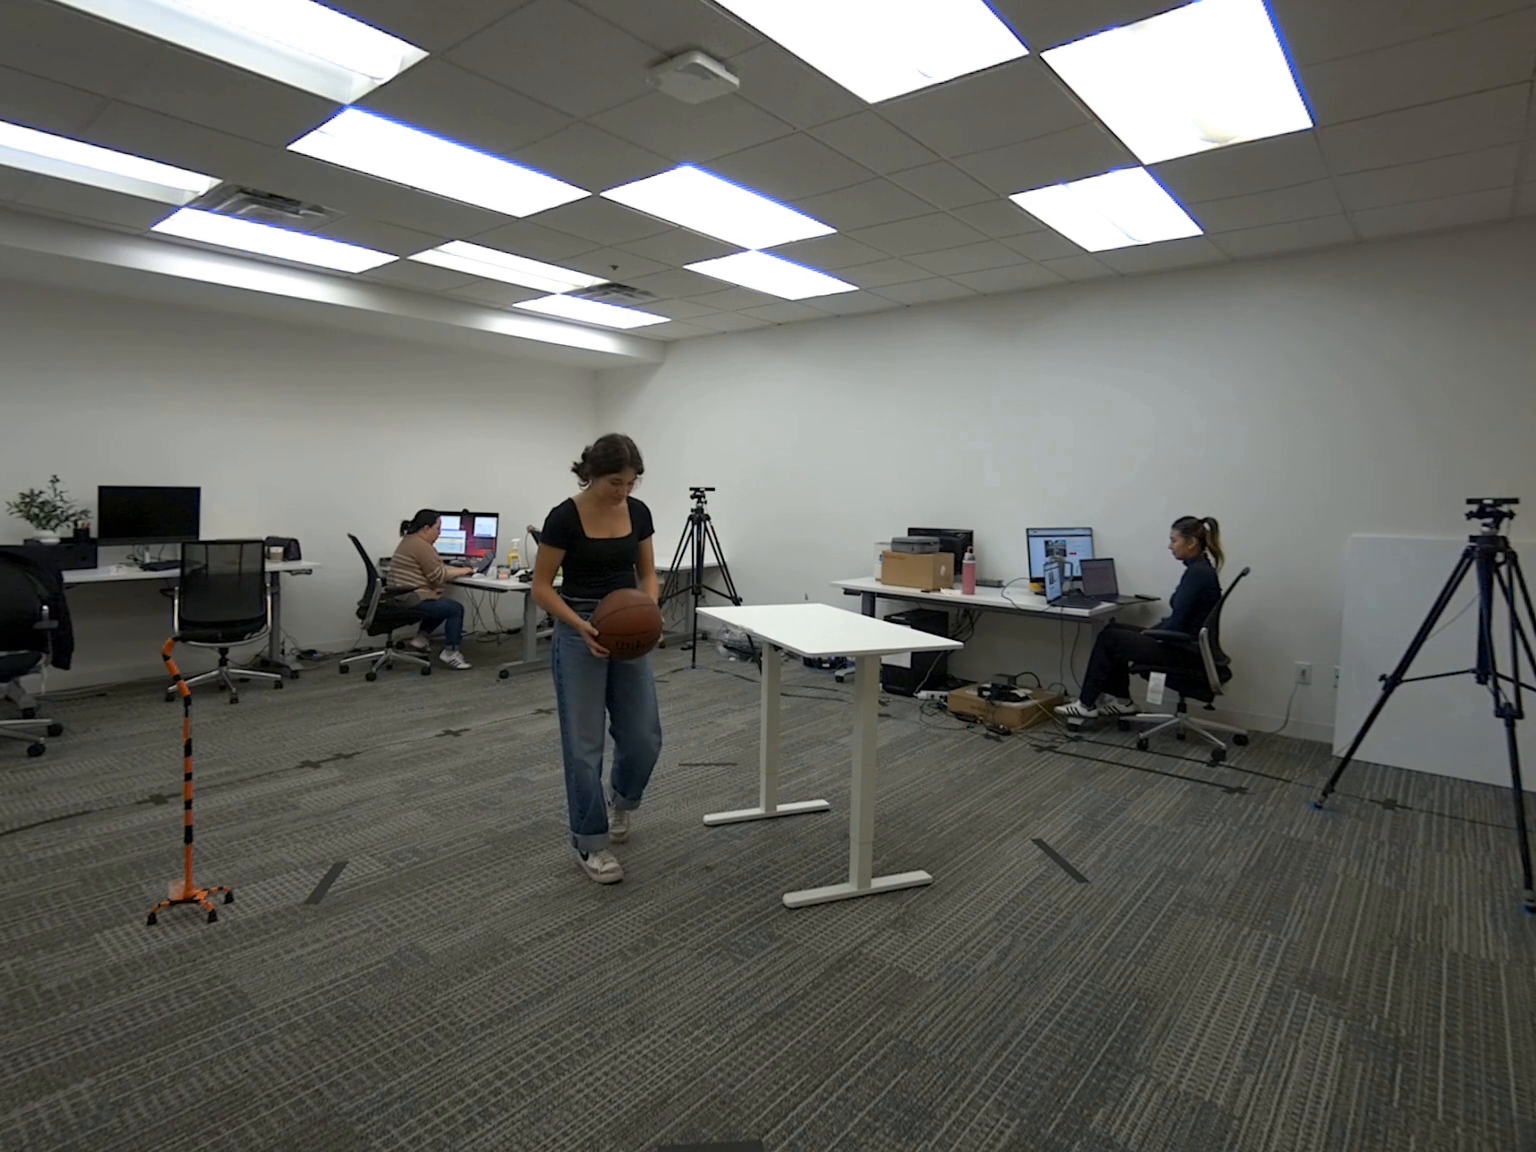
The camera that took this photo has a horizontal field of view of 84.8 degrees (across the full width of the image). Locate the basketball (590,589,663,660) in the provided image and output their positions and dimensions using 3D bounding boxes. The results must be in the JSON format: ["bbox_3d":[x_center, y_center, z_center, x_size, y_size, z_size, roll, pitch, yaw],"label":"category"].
[{"bbox_3d":[-0.490,0.158,2.891,0.235,0.235,0.237,1,4,-2],"label":"basketball"}]
